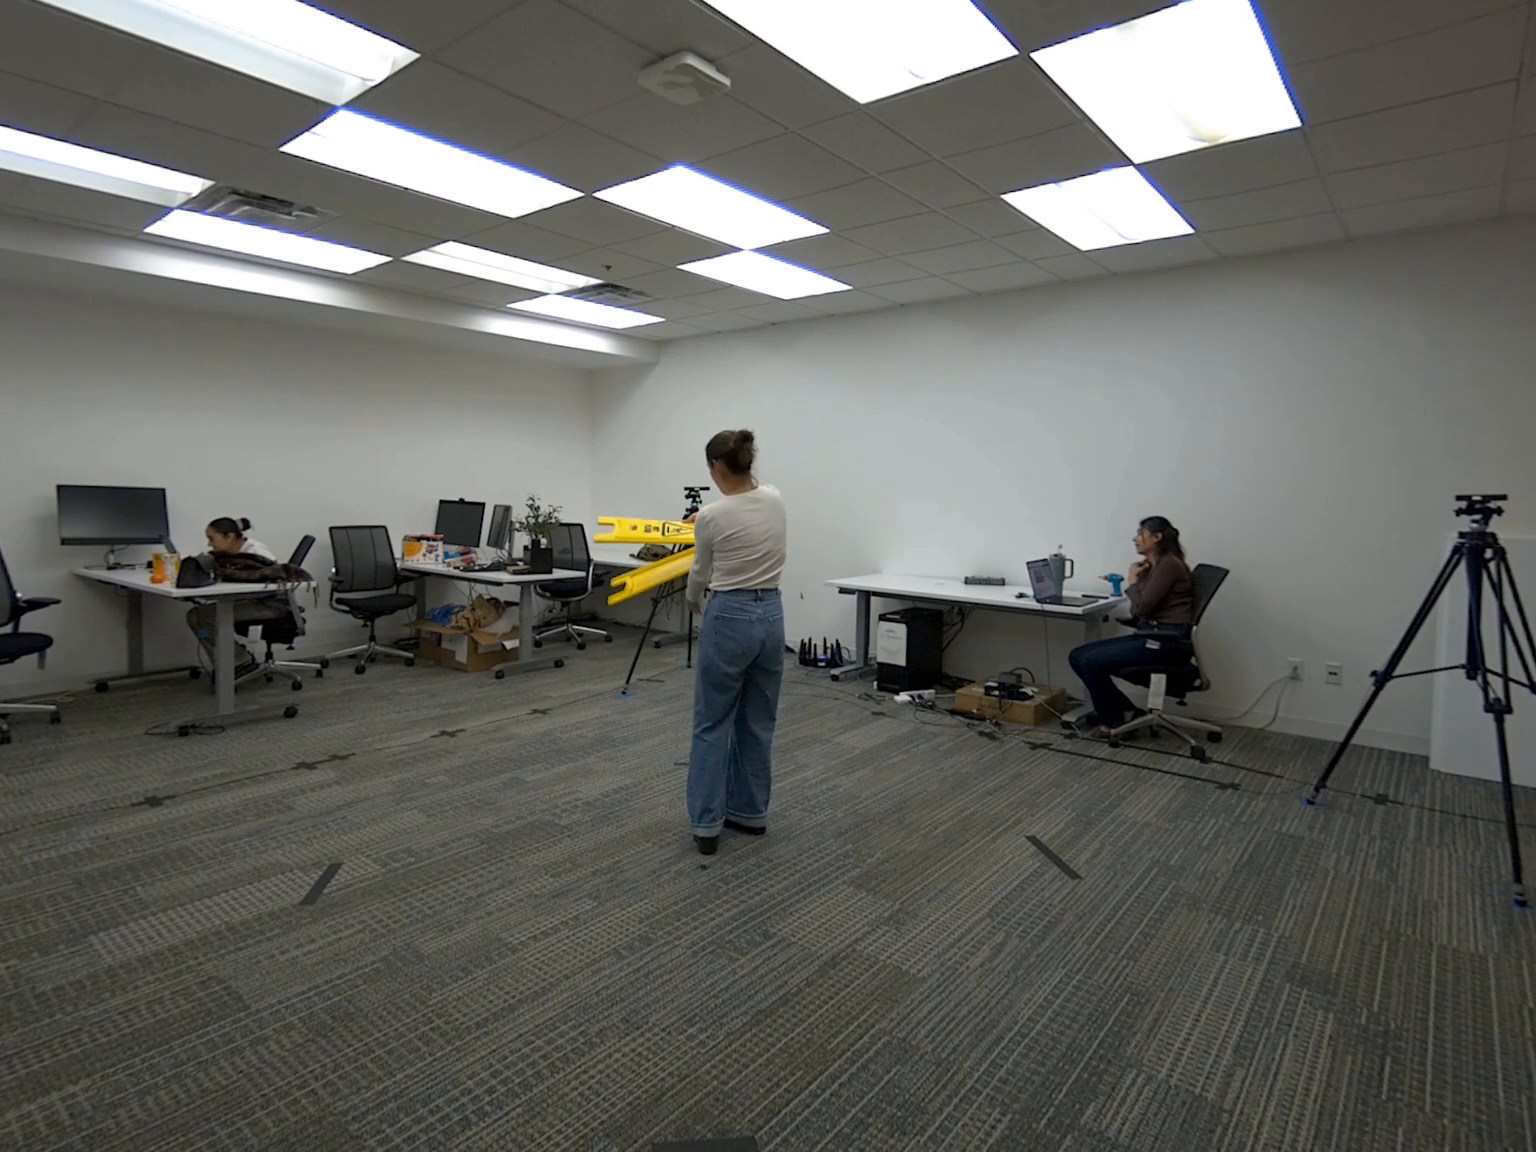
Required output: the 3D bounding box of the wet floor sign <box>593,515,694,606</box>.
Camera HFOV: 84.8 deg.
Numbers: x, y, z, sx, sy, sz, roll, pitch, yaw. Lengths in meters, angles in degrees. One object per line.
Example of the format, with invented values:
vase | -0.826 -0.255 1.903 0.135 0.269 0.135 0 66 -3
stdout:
wet floor sign | -0.394 -0.118 3.670 0.646 0.283 0.288 -10 21 1
